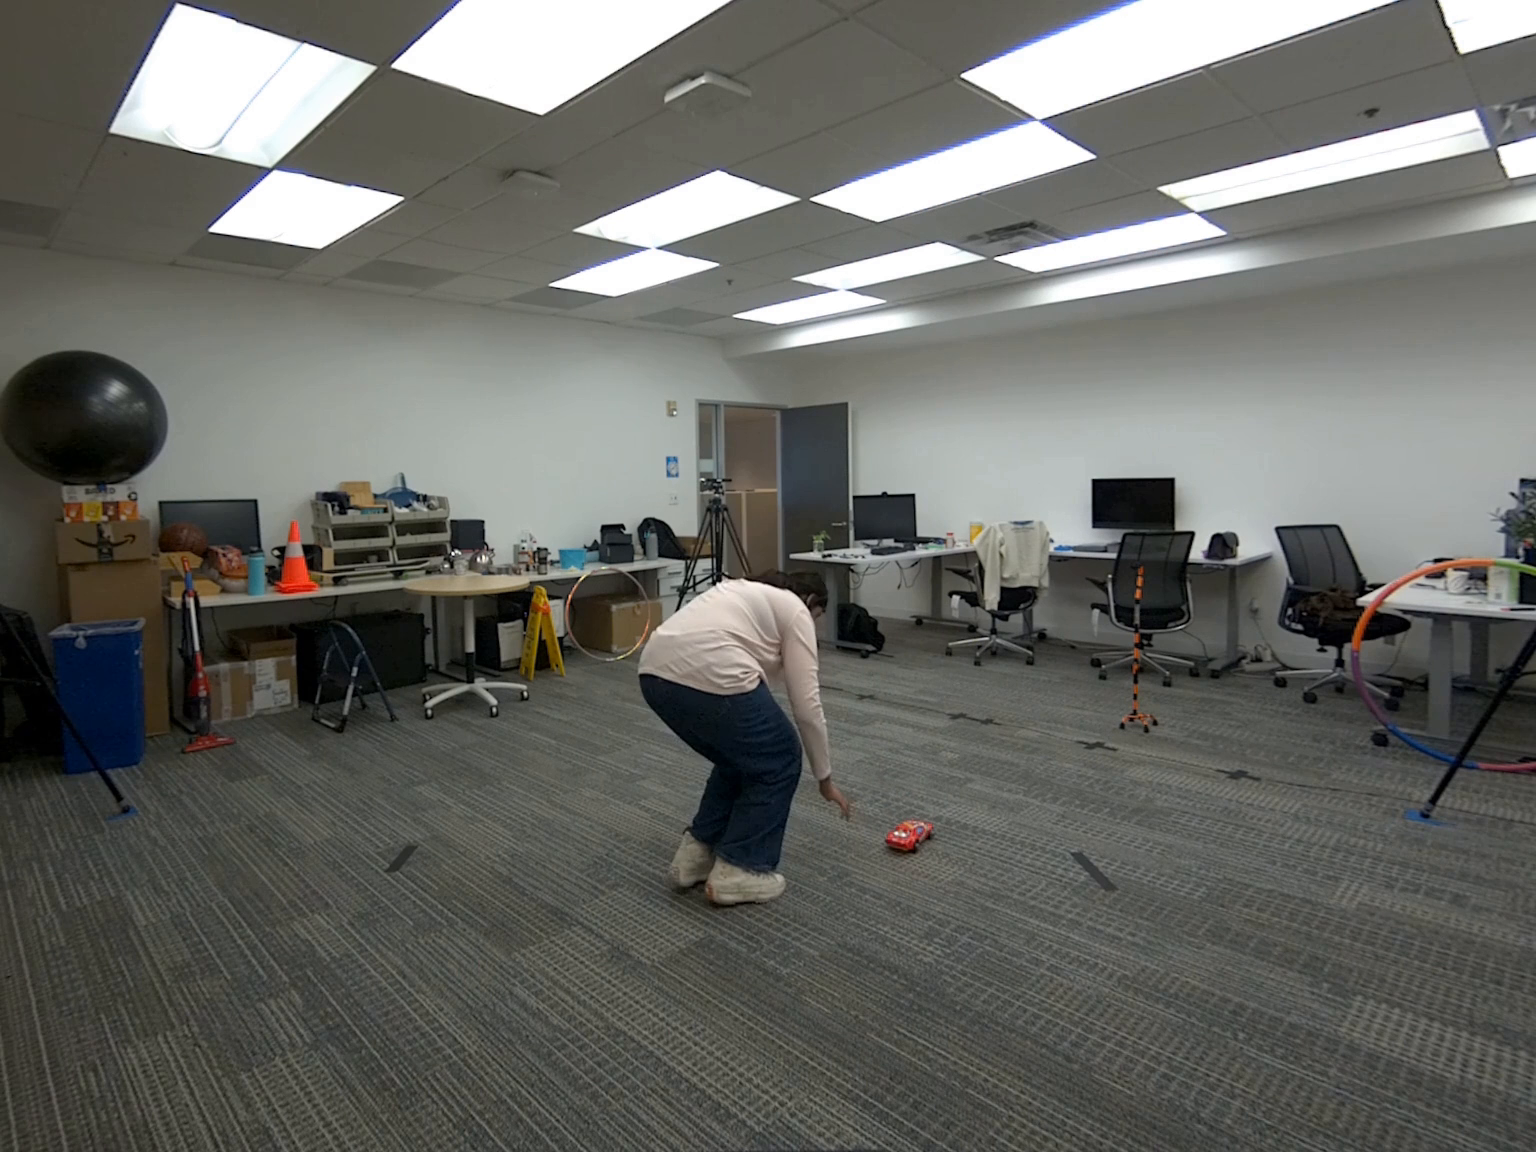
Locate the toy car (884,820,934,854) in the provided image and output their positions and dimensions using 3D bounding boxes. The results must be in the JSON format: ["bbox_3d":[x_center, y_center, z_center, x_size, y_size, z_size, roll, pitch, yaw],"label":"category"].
[{"bbox_3d":[0.538,0.988,3.243,0.134,0.083,0.246,4,-4,36],"label":"toy car"}]
